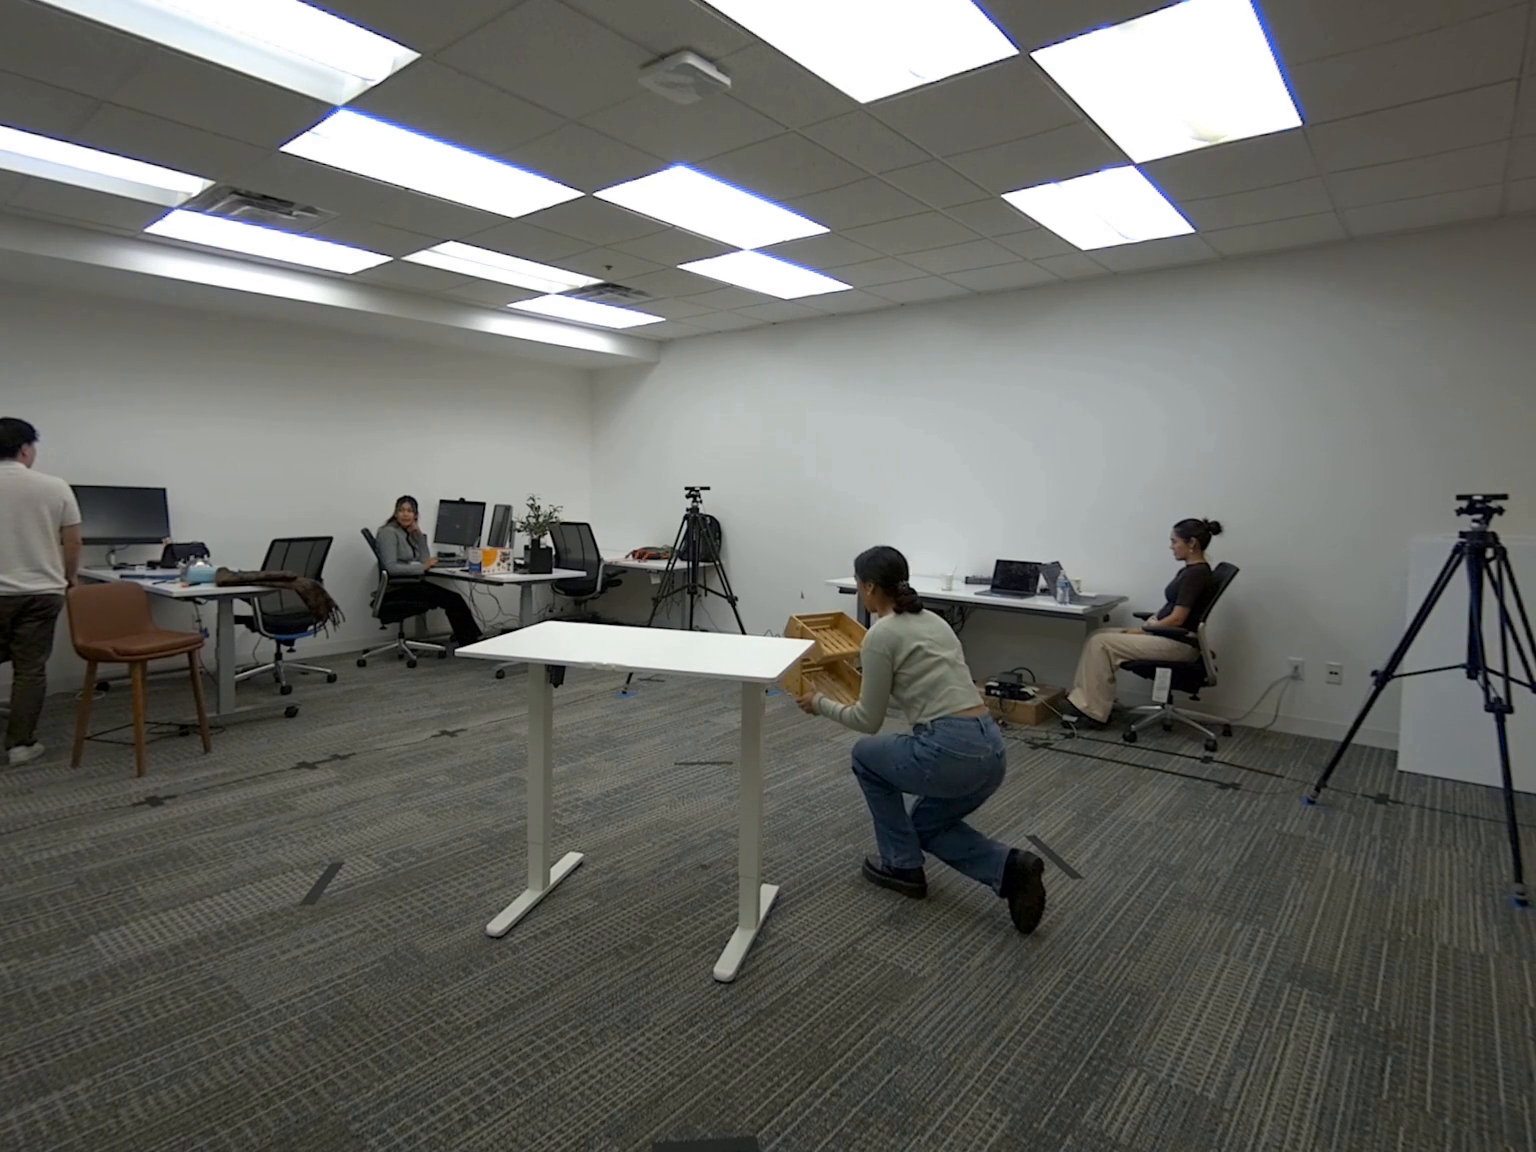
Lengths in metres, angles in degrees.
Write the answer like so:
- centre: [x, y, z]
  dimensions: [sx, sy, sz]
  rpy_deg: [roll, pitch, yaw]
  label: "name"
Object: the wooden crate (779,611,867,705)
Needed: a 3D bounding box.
- centre: [0.239, 0.321, 3.246]
  dimensions: [0.314, 0.270, 0.315]
  rpy_deg: [-2, 30, -43]
  label: "wooden crate"
